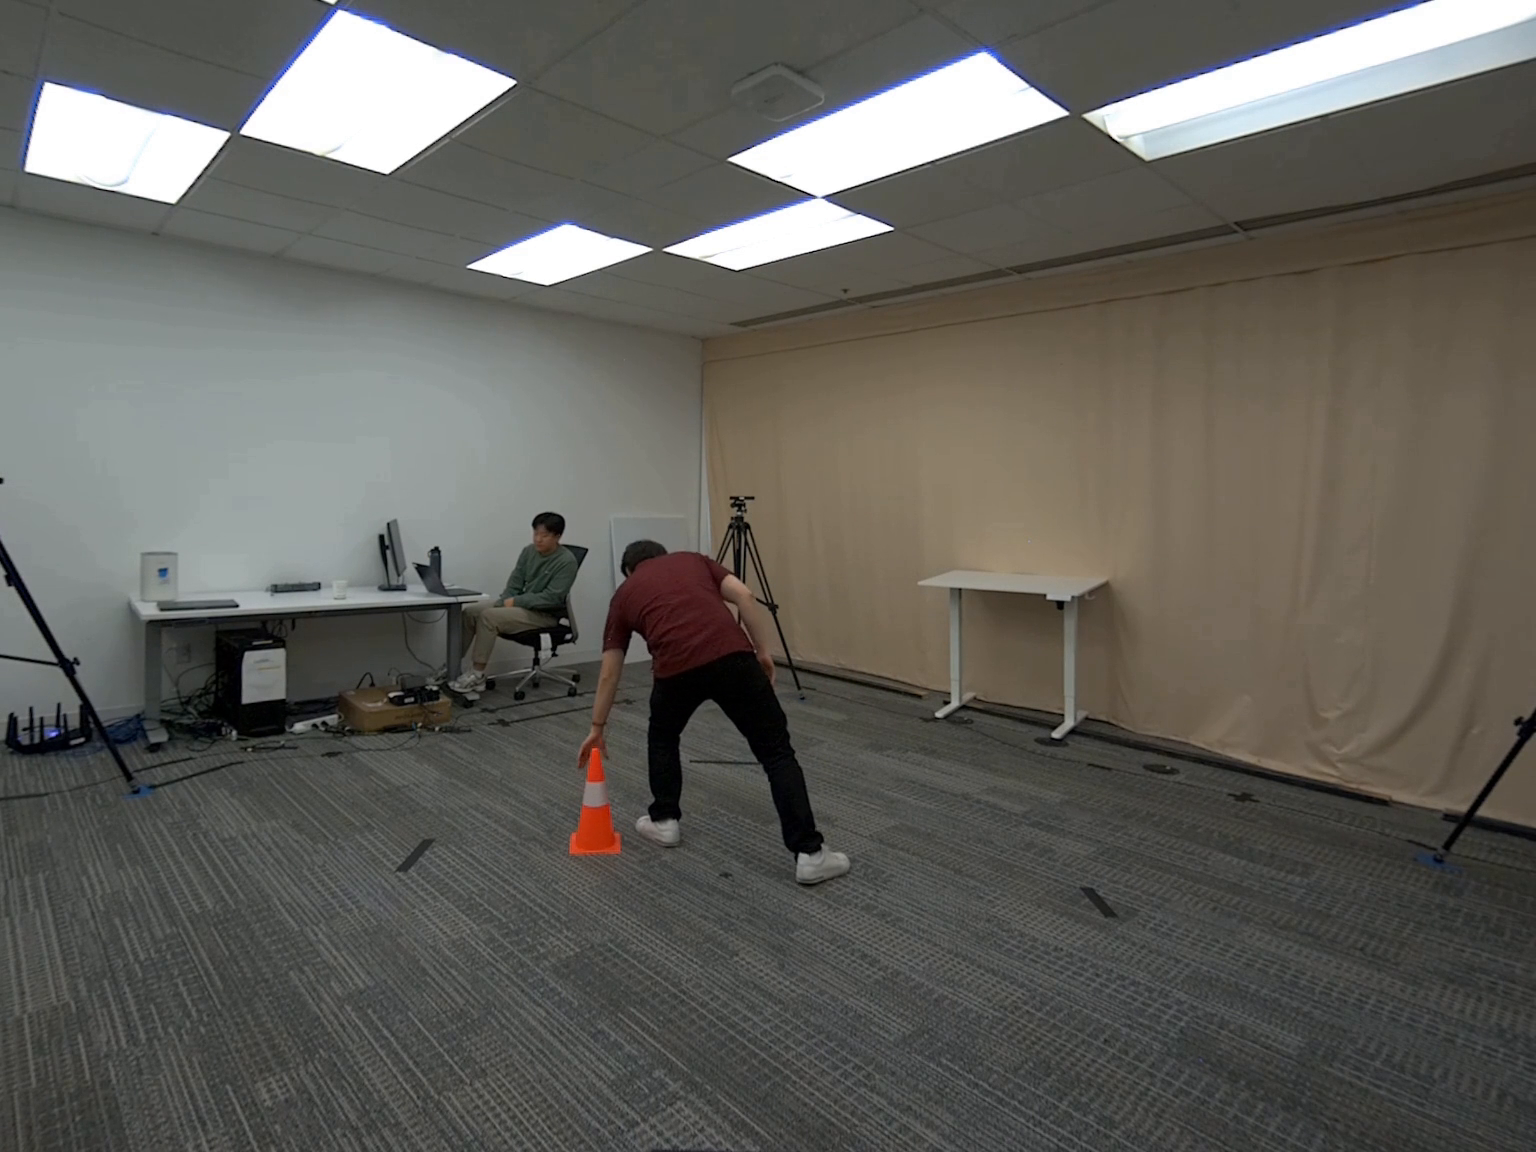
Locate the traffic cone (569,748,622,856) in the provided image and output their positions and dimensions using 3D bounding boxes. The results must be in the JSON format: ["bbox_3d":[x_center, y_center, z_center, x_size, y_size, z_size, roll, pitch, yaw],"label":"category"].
[{"bbox_3d":[-0.684,0.879,3.346,0.203,0.383,0.206,2,3,-13],"label":"traffic cone"}]
